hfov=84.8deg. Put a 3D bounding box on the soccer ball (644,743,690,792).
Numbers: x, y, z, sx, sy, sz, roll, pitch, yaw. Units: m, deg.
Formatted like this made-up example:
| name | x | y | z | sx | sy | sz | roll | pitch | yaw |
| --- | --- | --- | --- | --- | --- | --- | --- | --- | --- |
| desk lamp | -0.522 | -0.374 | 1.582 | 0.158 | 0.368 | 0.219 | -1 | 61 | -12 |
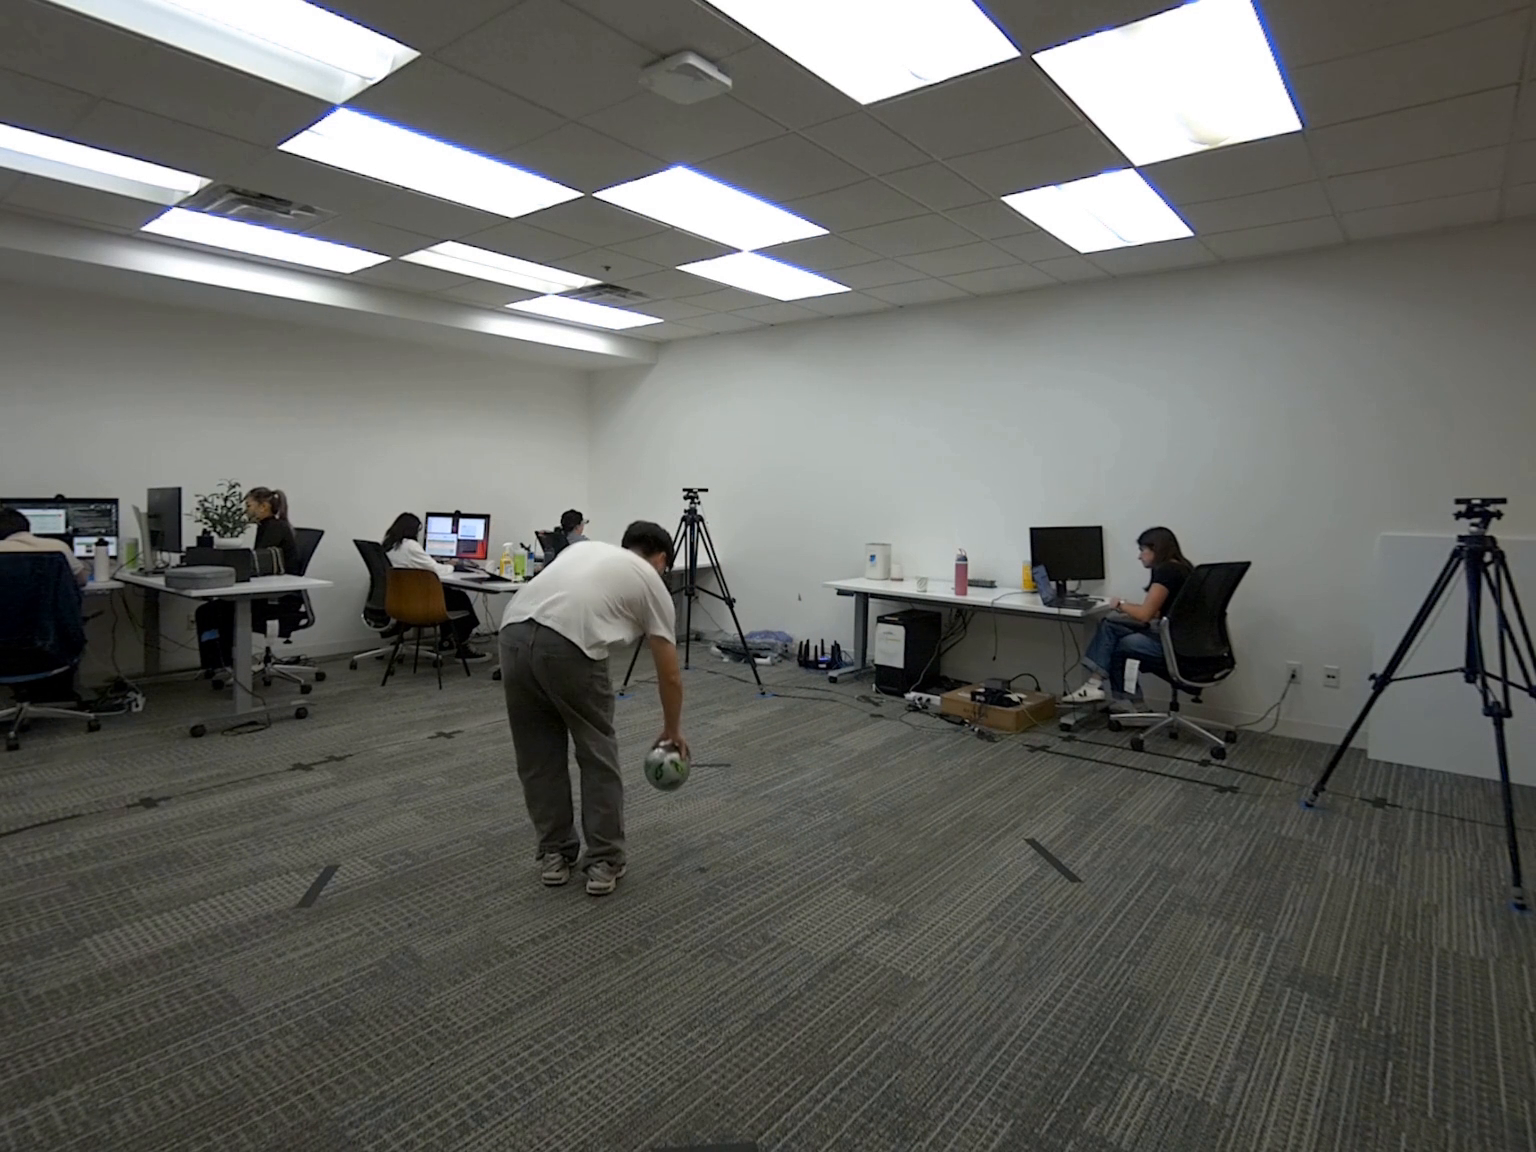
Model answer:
| name | x | y | z | sx | sy | sz | roll | pitch | yaw |
| --- | --- | --- | --- | --- | --- | --- | --- | --- | --- |
| soccer ball | -0.399 | 0.703 | 3.322 | 0.187 | 0.187 | 0.188 | 1 | 4 | -2 |
